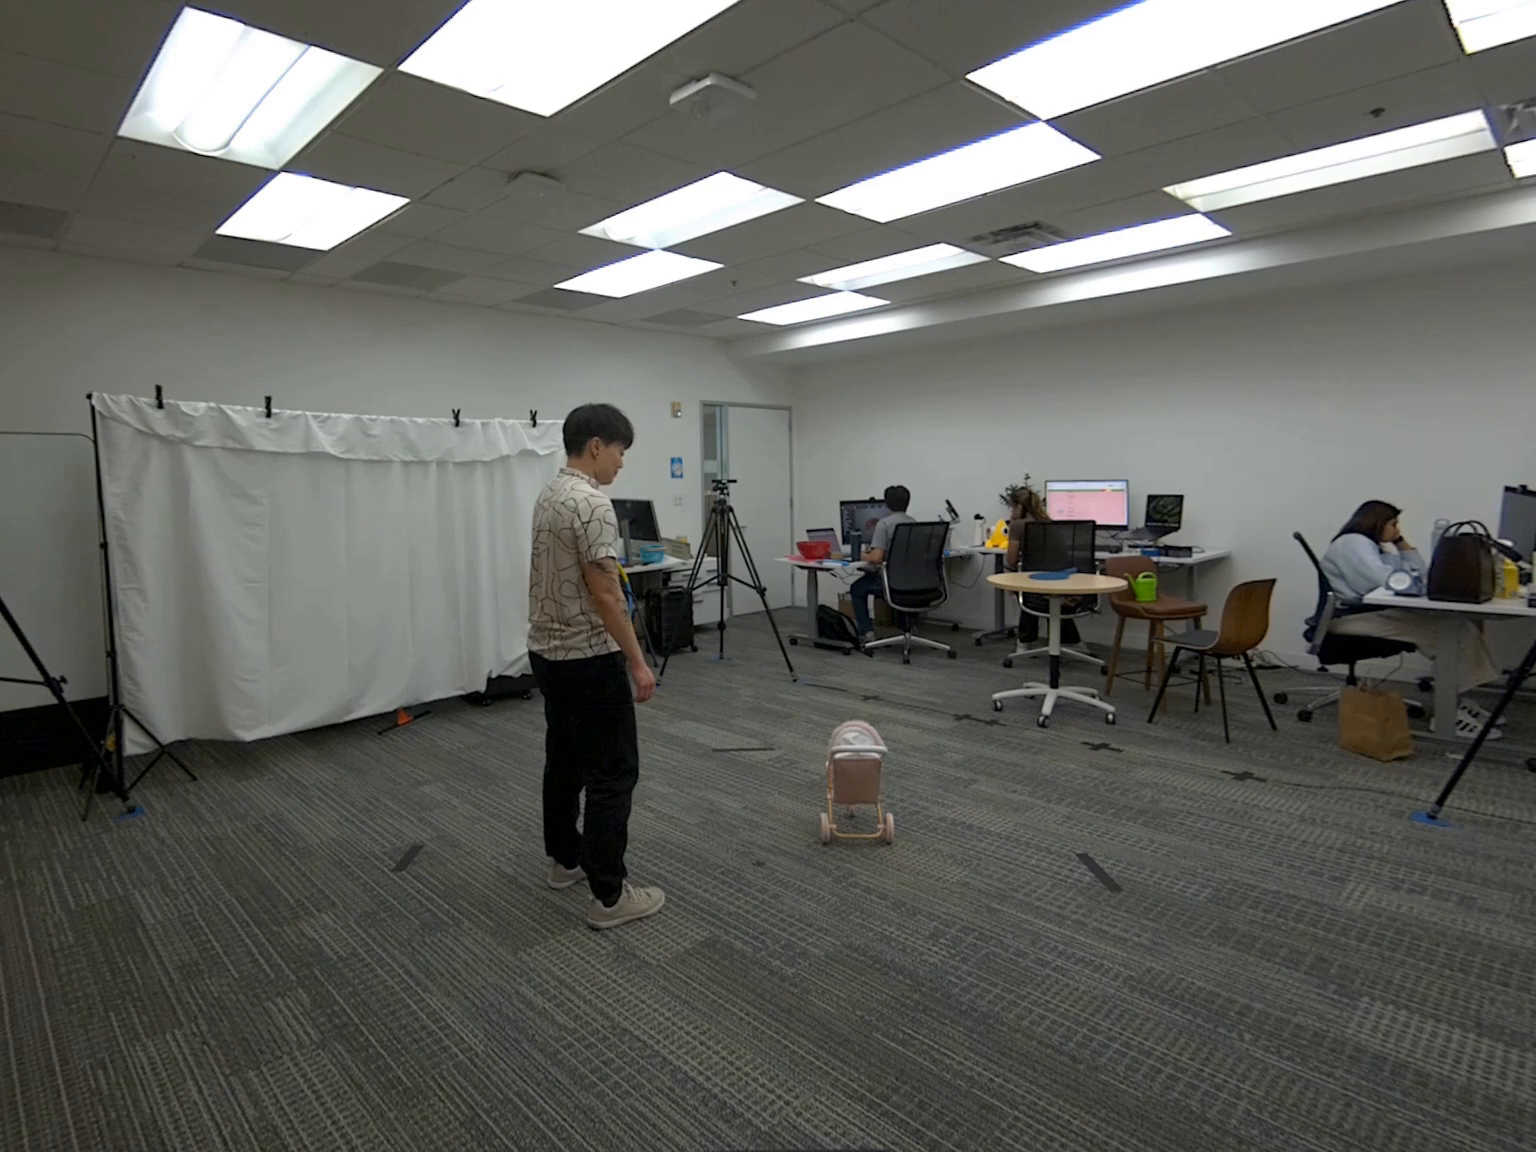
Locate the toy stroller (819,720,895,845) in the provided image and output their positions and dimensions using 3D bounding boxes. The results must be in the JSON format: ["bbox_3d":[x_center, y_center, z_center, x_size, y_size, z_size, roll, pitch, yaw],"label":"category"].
[{"bbox_3d":[0.344,0.794,3.331,0.283,0.525,0.346,0,21,5],"label":"toy stroller"}]
